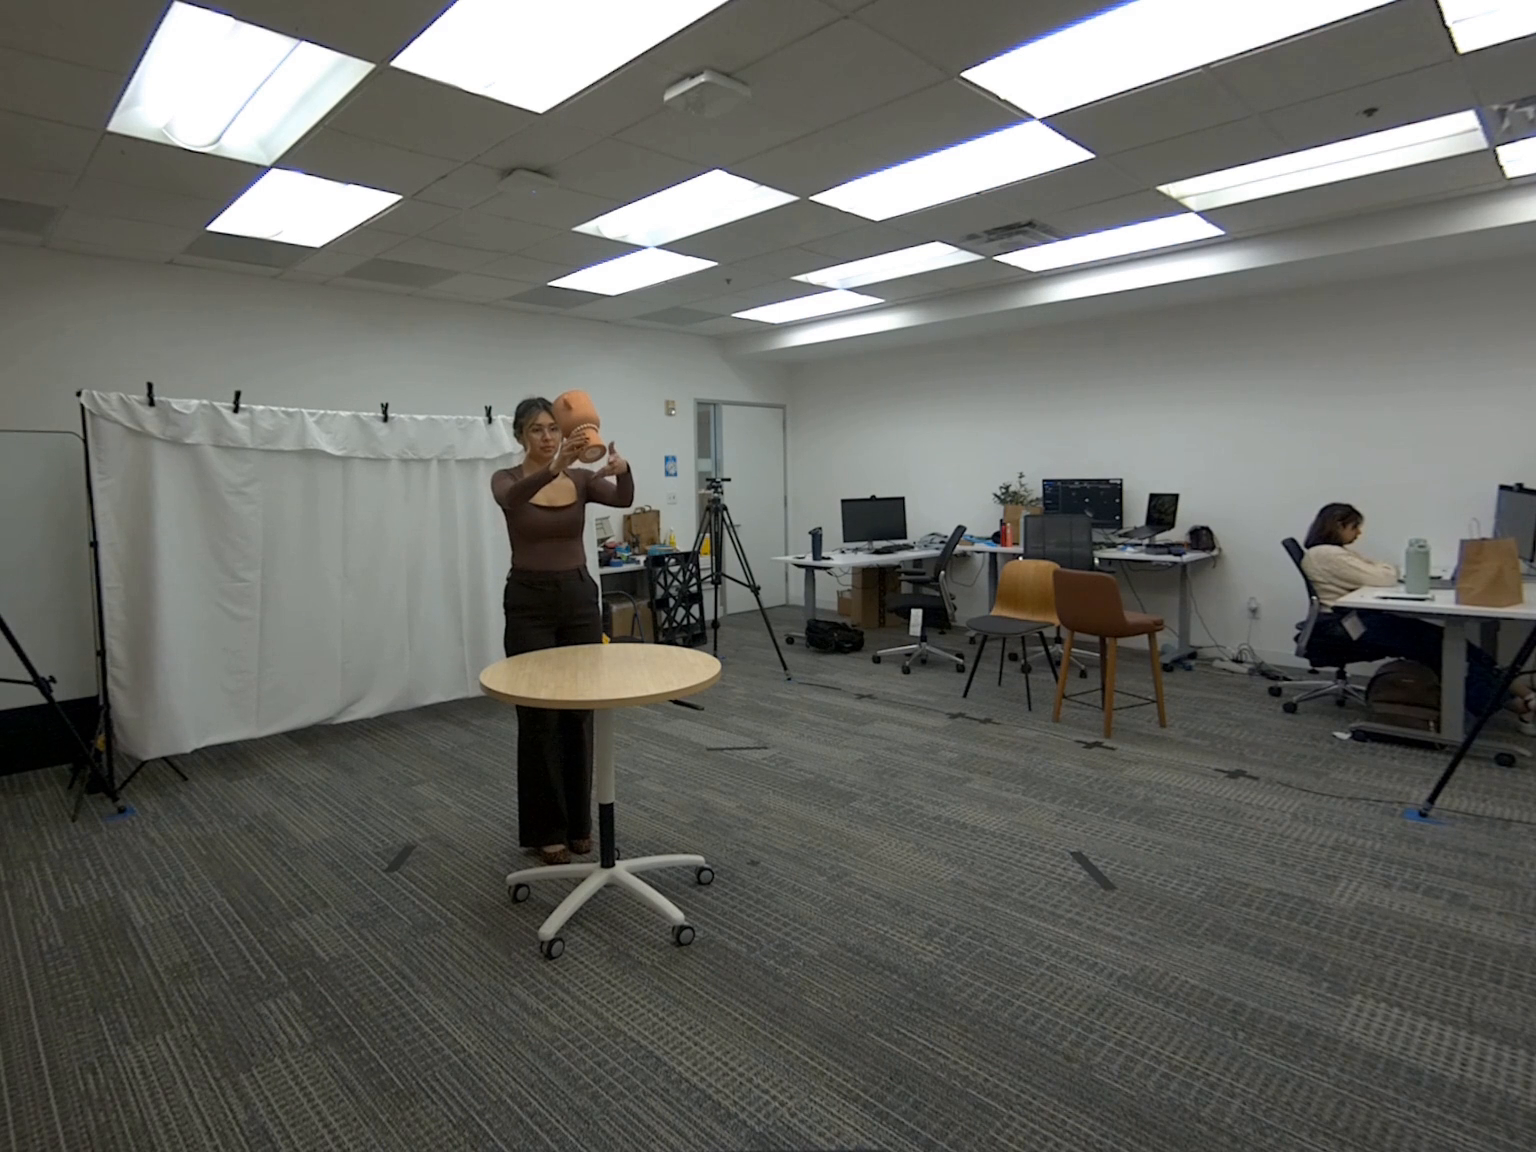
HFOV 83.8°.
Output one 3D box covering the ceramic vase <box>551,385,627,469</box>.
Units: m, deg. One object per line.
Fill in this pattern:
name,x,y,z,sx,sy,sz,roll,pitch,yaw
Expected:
ceramic vase,-0.599,-0.483,2.786,0.154,0.226,0.135,1,-36,-46
